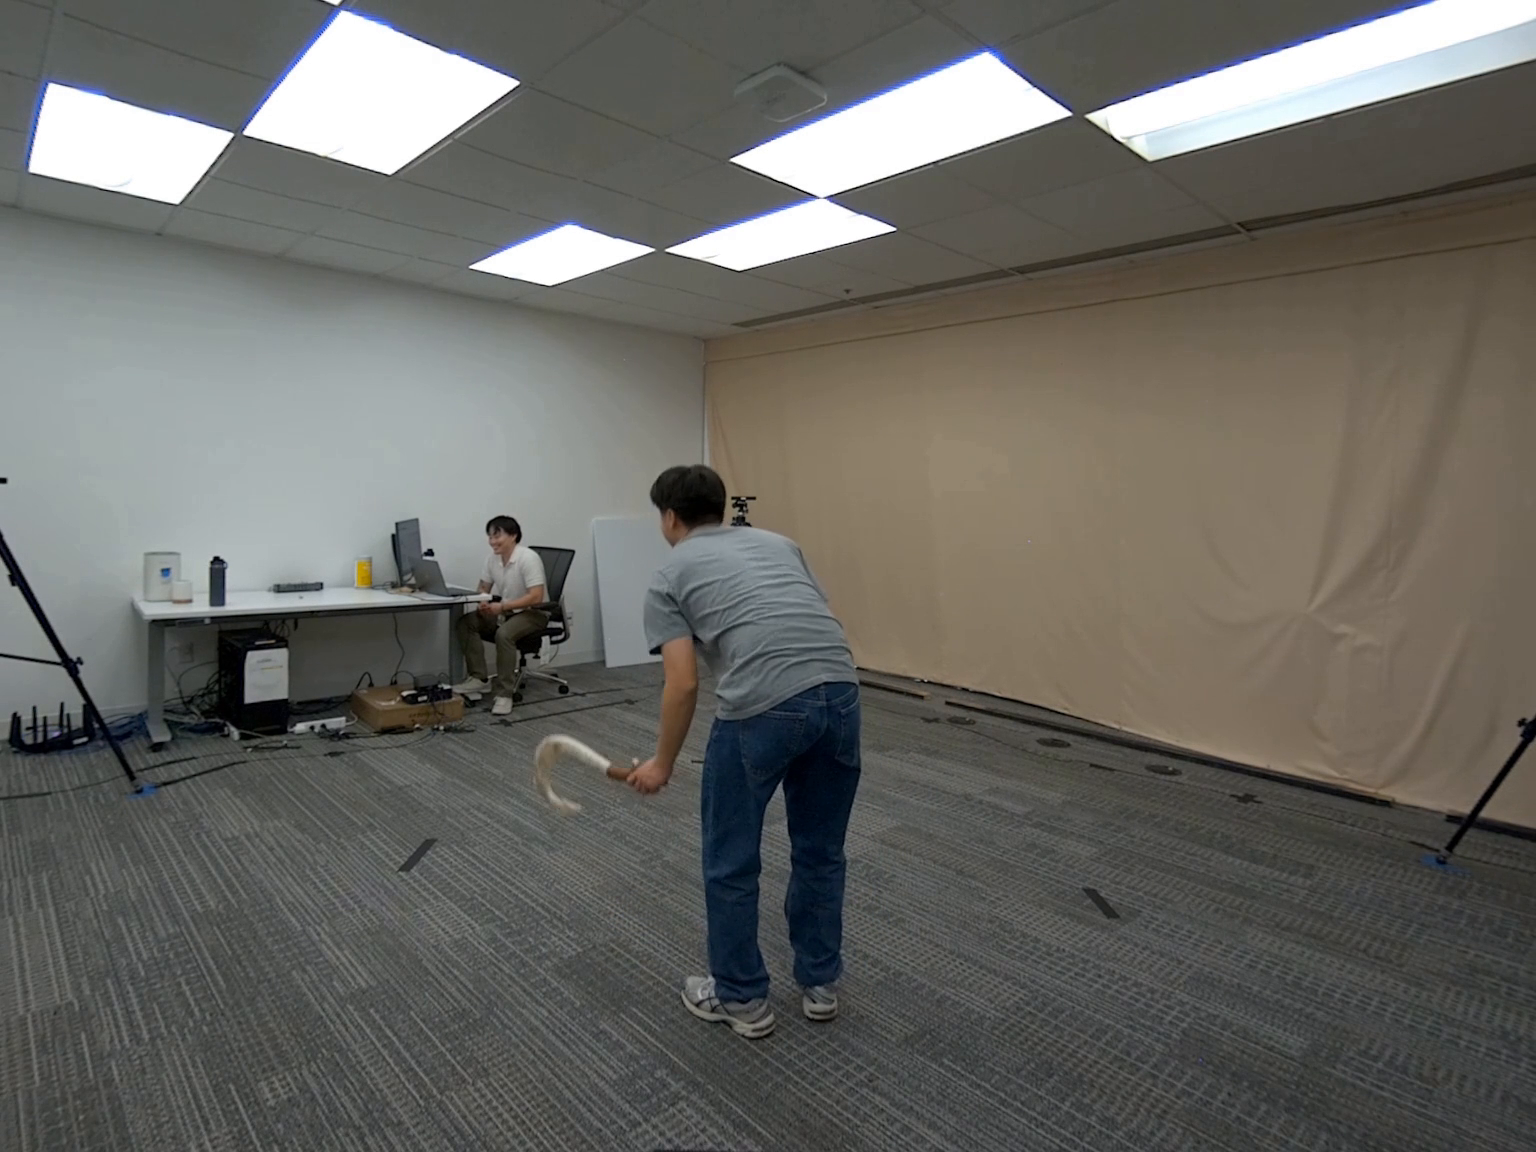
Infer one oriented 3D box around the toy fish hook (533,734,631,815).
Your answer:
[{"bbox_3d":[-0.505,0.623,2.466,0.518,0.224,0.047,3,6,33],"label":"toy fish hook"}]
